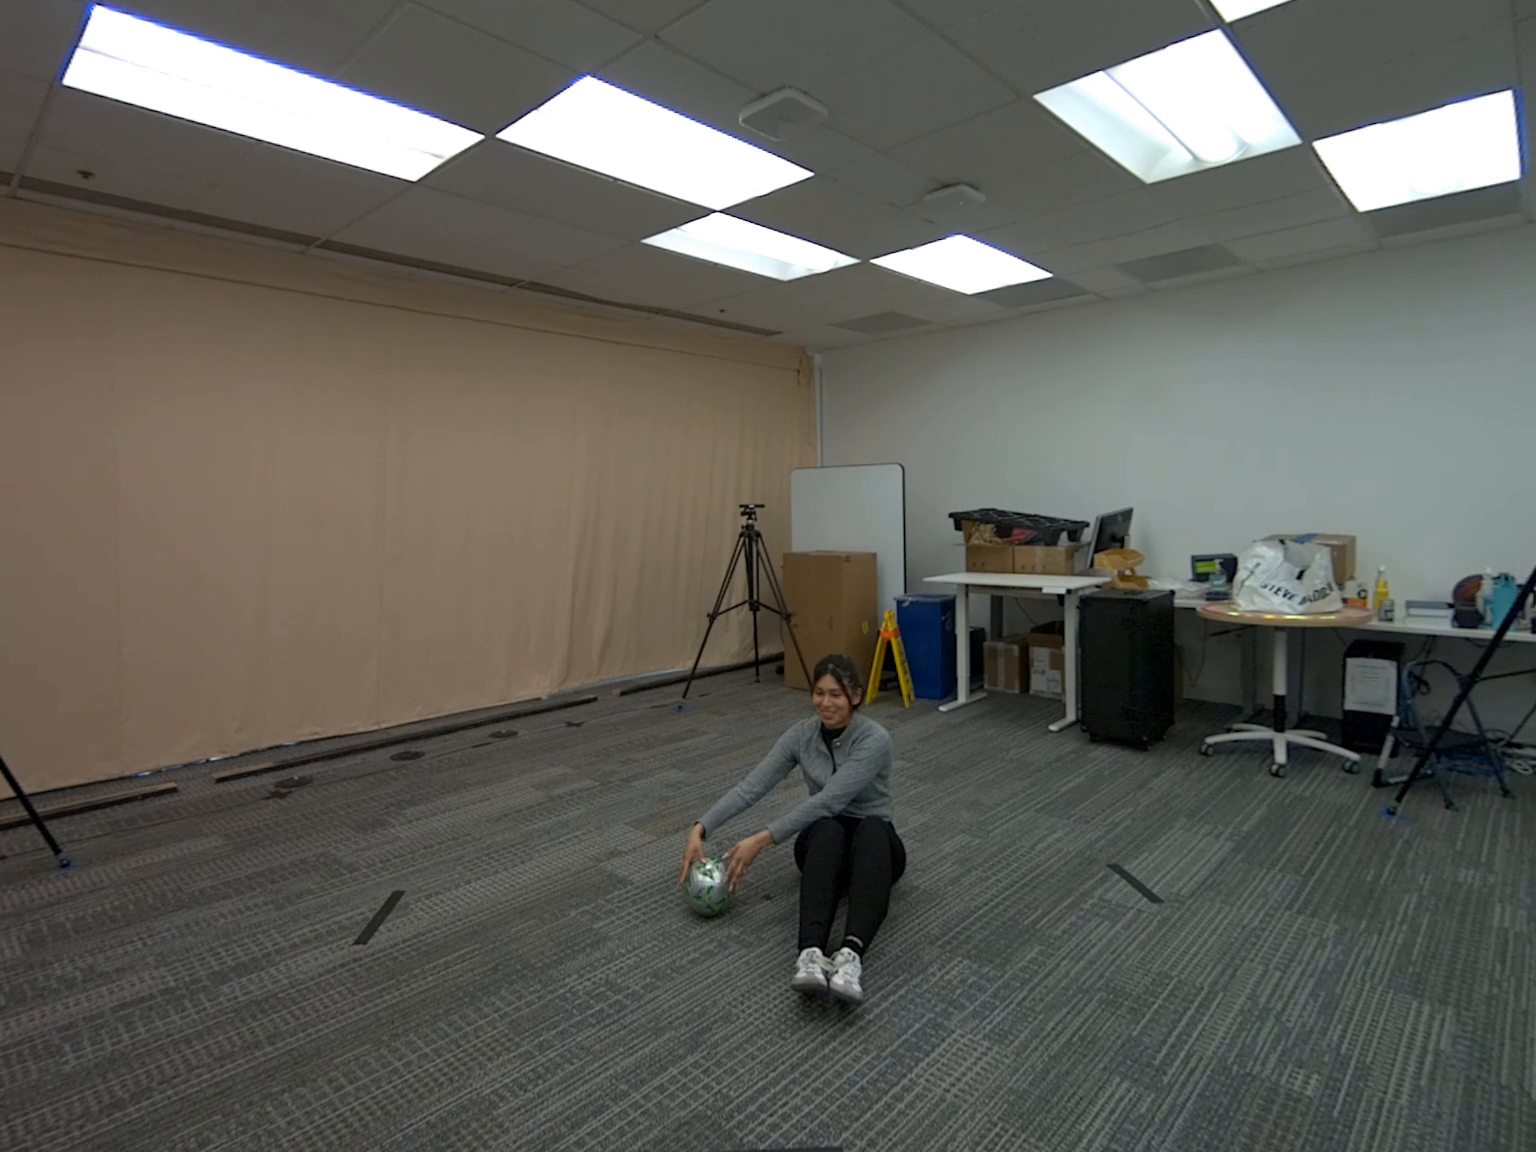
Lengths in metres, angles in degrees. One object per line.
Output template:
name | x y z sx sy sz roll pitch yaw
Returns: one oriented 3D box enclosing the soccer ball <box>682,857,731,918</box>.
soccer ball | -0.200 1.052 2.875 0.187 0.187 0.188 -1 4 -2
